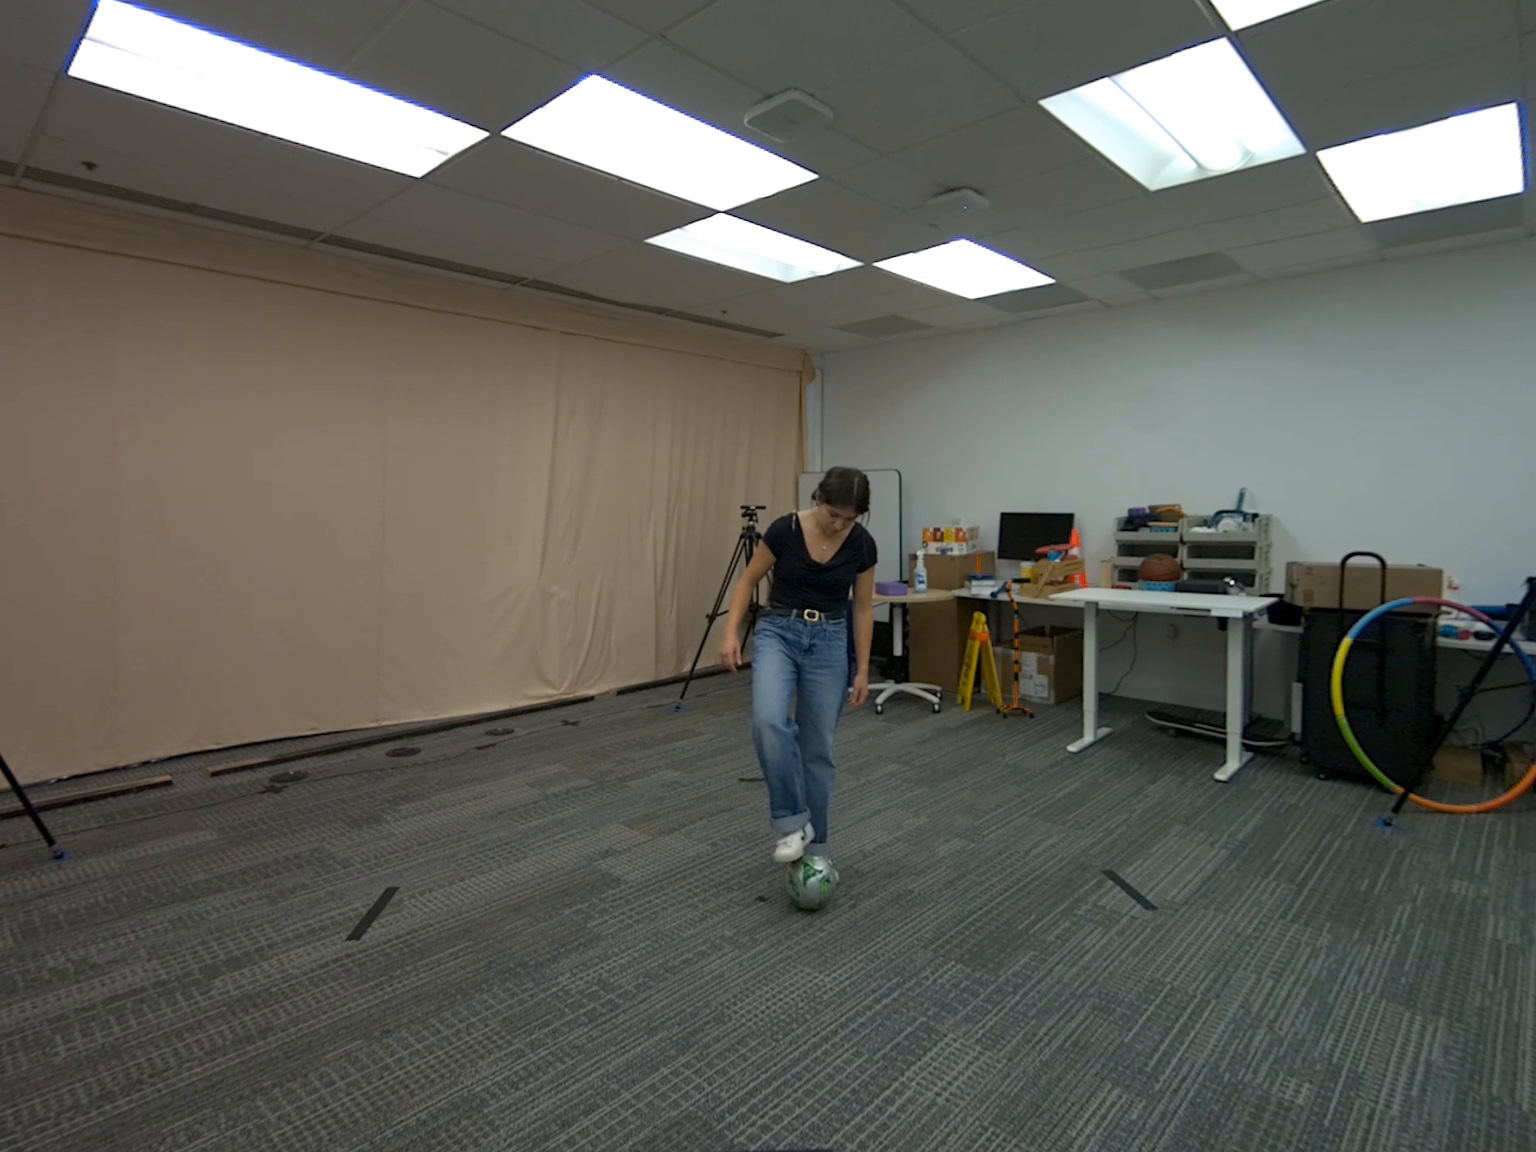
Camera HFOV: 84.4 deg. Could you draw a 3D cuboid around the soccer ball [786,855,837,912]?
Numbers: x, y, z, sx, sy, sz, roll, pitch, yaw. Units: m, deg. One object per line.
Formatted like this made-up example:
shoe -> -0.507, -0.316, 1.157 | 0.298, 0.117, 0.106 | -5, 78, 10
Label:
soccer ball -> 0.141, 1.052, 2.911 | 0.187, 0.187, 0.188 | 0, 4, -2
